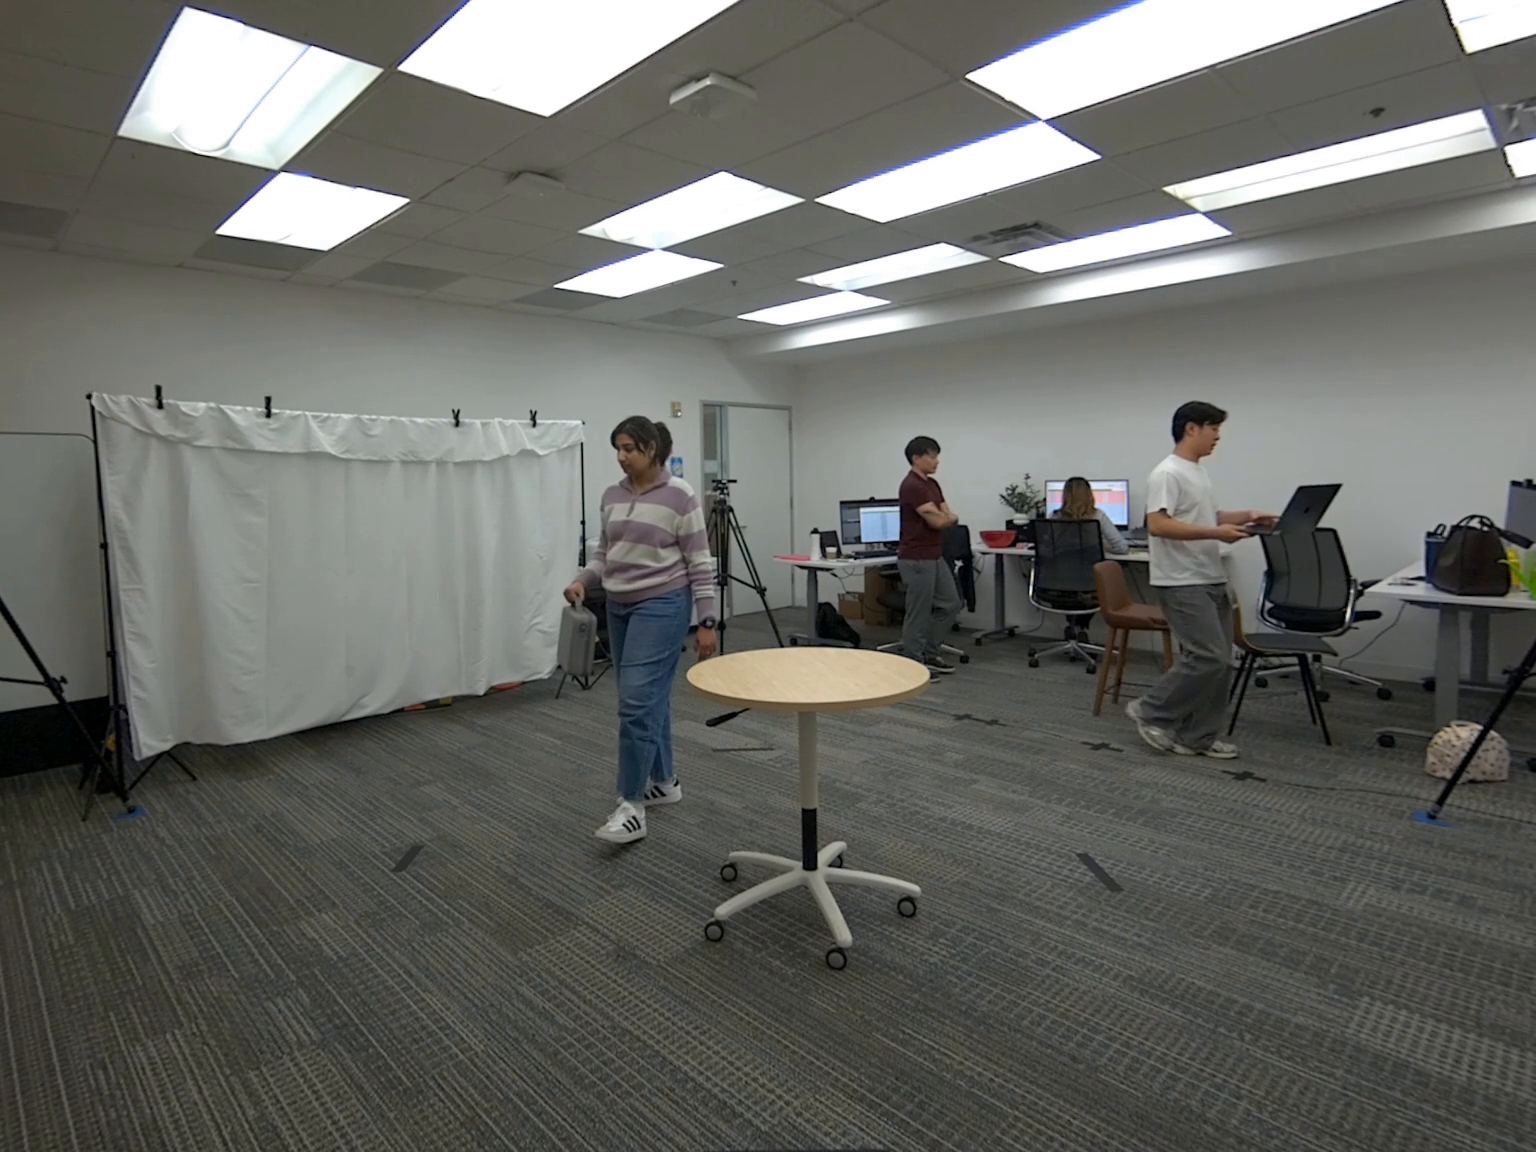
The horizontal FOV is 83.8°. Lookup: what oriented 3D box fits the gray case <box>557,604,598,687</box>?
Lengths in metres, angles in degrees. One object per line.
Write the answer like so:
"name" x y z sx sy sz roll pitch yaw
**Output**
"gray case" -0.781 0.258 3.507 0.102 0.260 0.263 4 5 -24
